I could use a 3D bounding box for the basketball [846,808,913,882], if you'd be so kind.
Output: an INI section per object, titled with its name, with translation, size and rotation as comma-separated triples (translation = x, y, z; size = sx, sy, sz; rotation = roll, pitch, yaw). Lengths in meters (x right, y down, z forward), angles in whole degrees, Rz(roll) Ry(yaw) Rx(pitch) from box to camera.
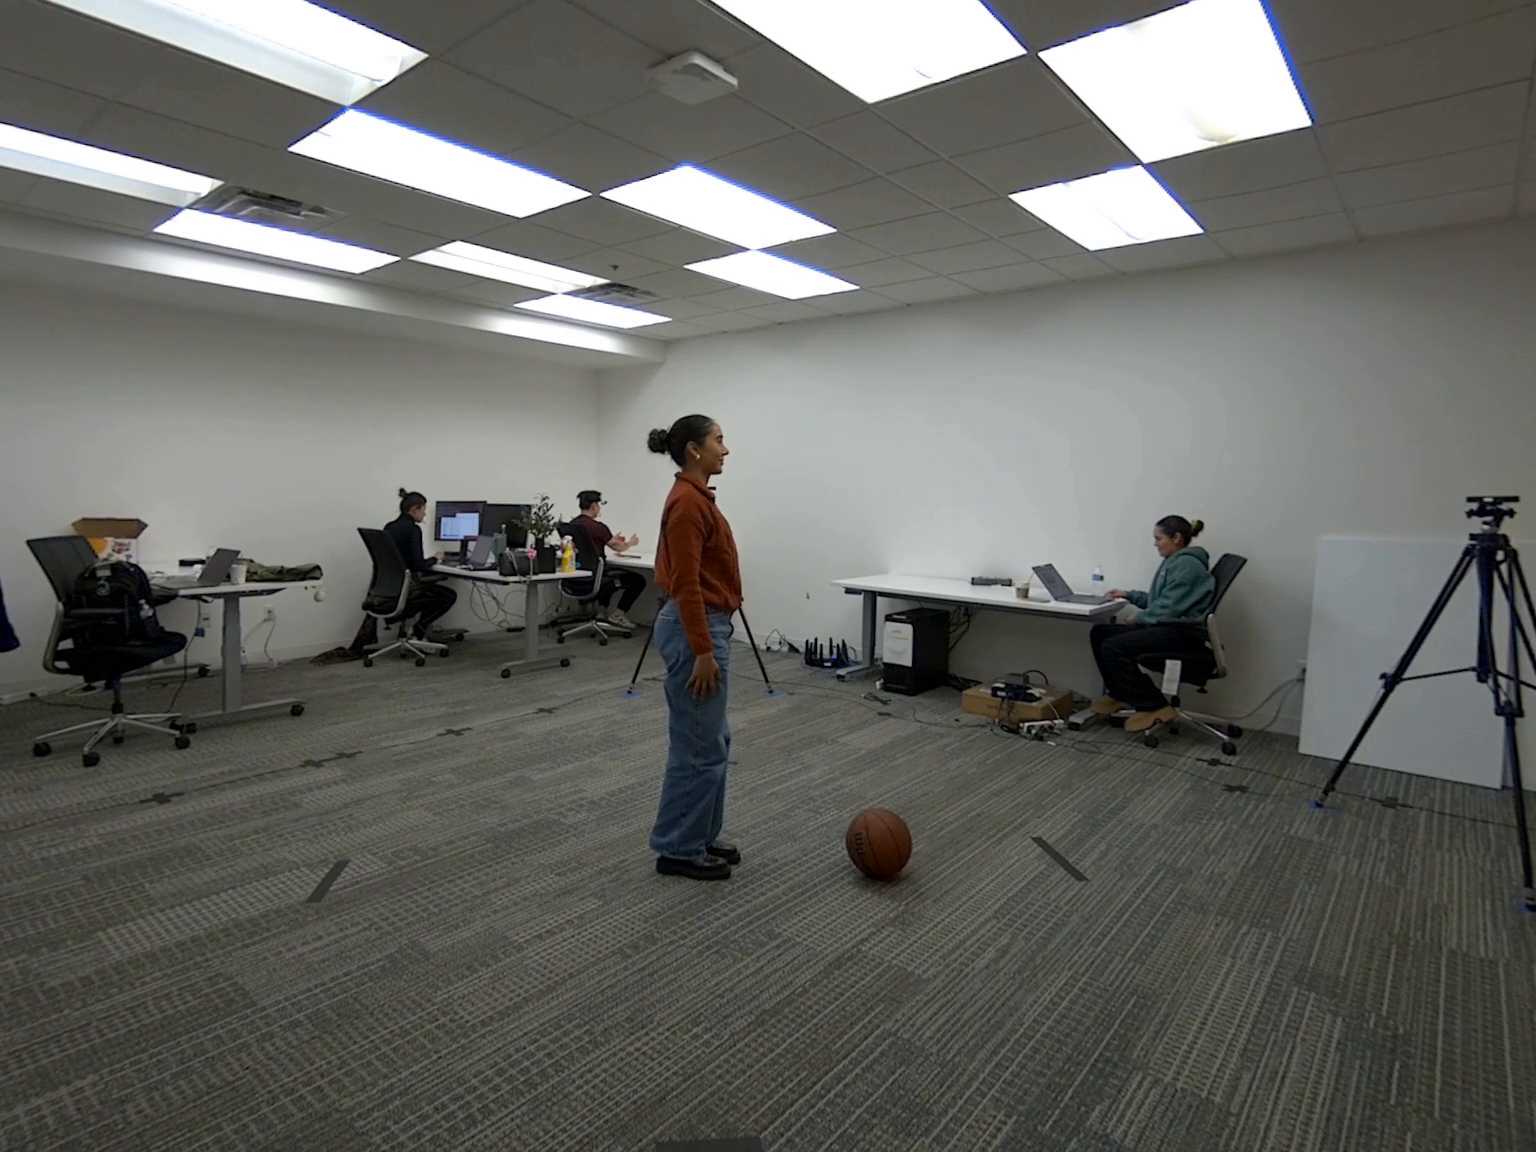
[basketball]
translation = 0.397, 0.962, 3.082
size = 0.236, 0.235, 0.237
rotation = 1, 4, -2
